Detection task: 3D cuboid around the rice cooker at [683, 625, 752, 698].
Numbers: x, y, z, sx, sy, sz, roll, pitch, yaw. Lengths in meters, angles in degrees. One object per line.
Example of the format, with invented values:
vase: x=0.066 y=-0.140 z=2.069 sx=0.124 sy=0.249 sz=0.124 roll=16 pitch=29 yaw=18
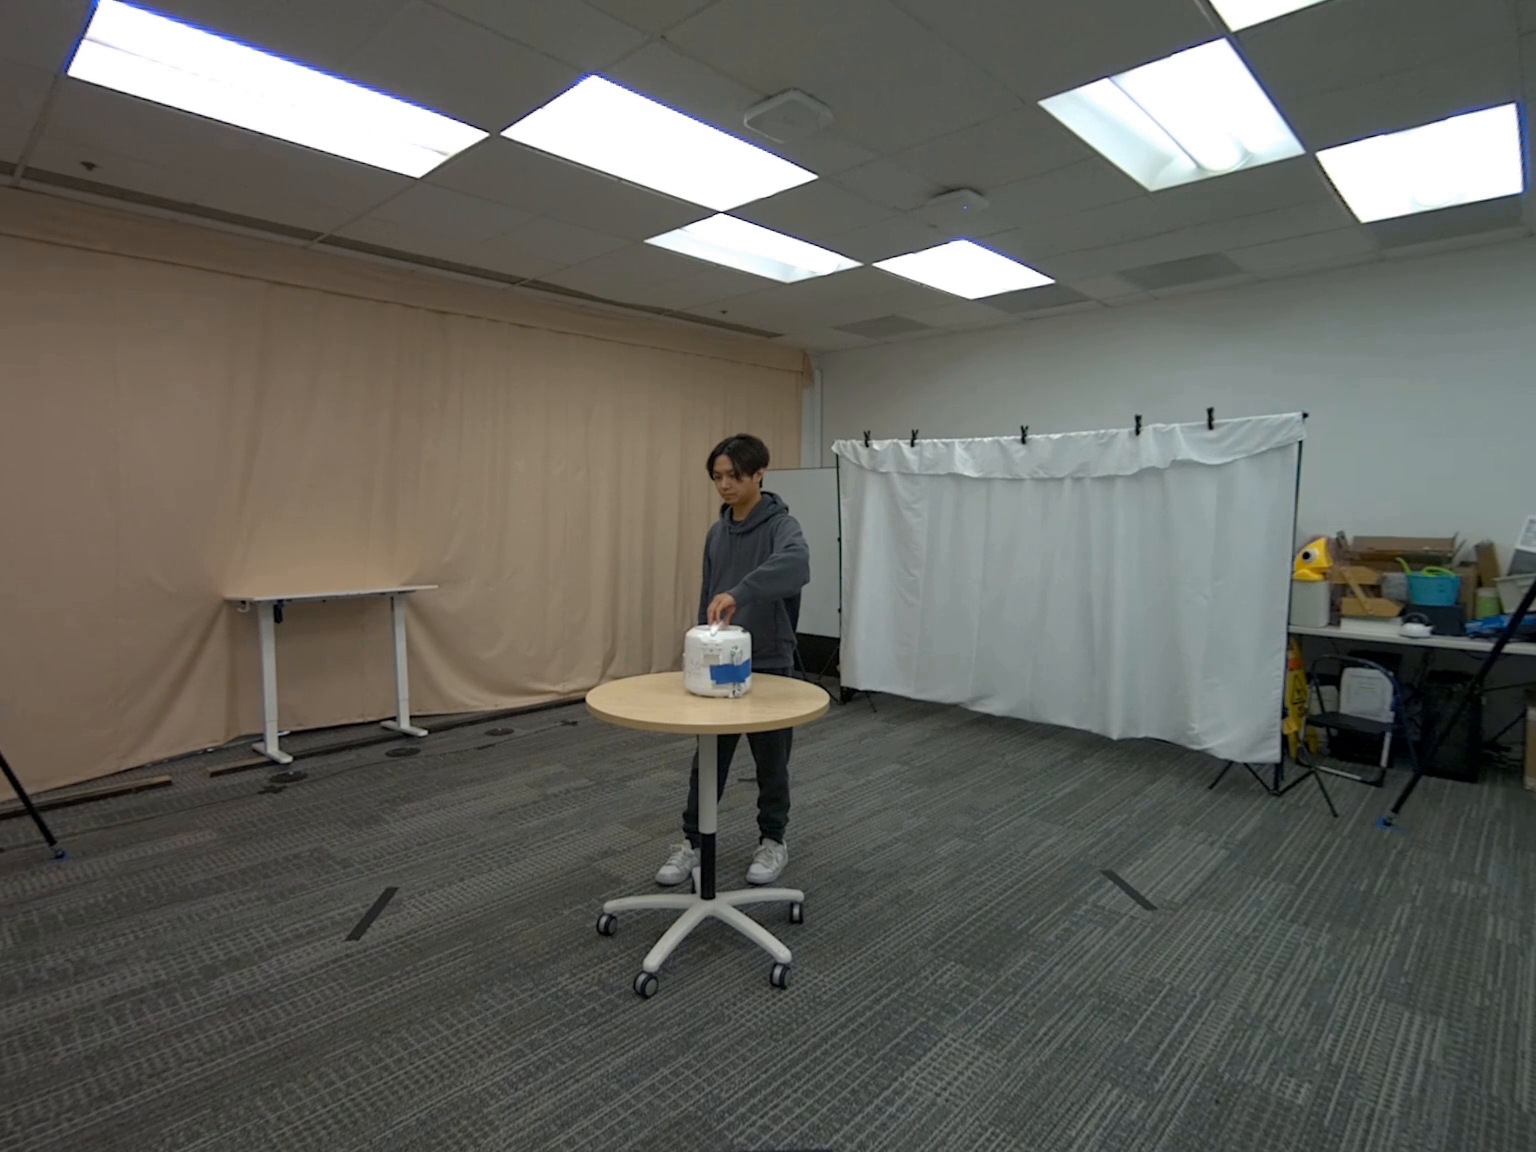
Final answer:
rice cooker: x=-0.160 y=0.256 z=2.688 sx=0.220 sy=0.232 sz=0.218 roll=0 pitch=3 yaw=9
